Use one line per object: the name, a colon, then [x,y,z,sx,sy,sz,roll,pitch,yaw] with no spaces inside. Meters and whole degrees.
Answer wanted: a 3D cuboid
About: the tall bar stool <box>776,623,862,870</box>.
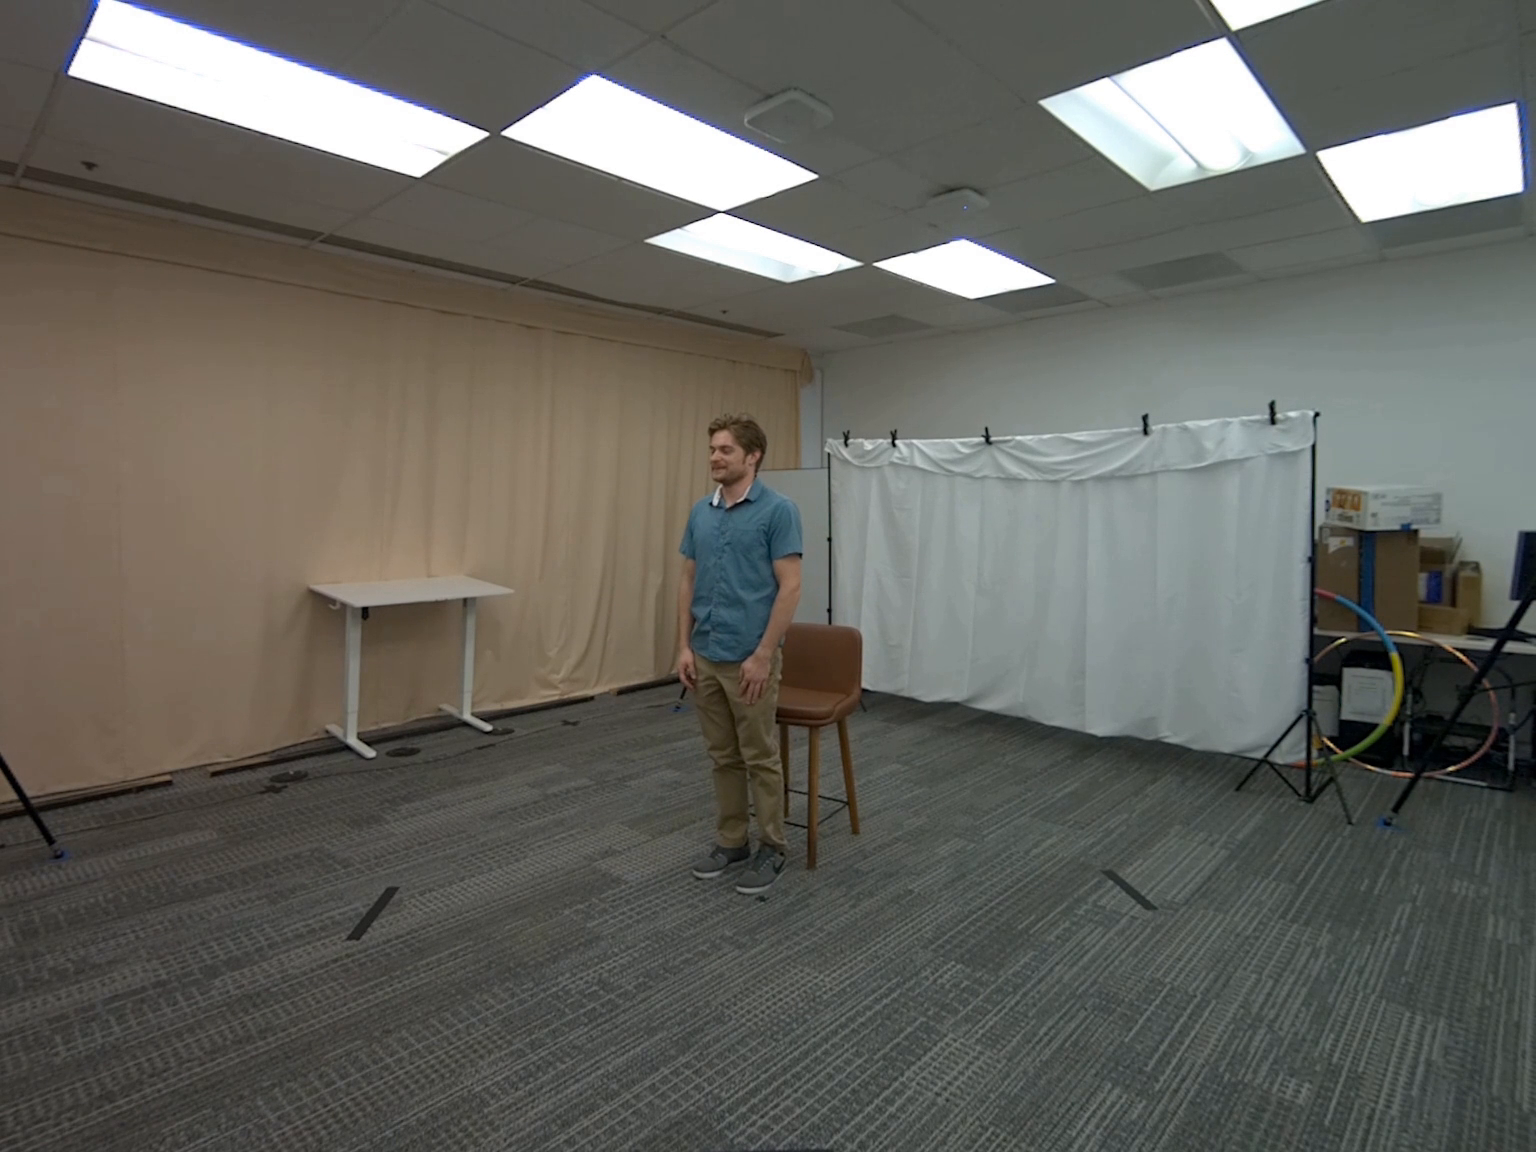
tall bar stool: [0.129,0.666,3.490,0.470,0.889,0.454,2,1,33]
